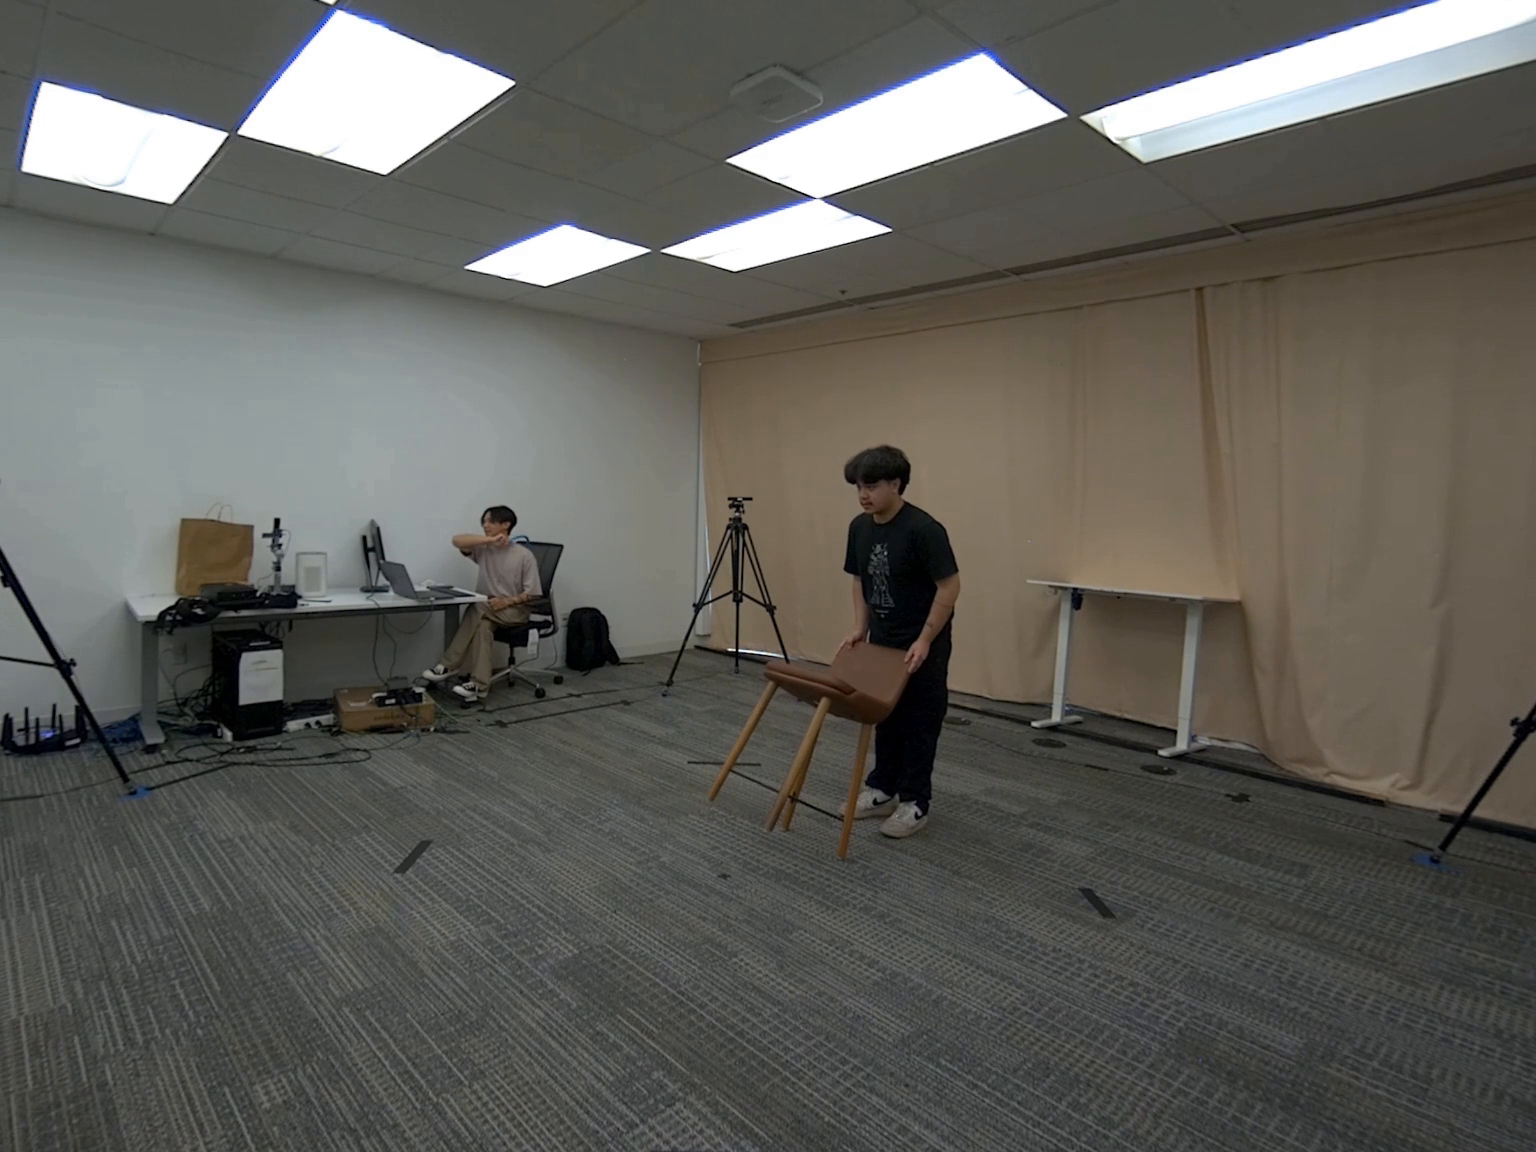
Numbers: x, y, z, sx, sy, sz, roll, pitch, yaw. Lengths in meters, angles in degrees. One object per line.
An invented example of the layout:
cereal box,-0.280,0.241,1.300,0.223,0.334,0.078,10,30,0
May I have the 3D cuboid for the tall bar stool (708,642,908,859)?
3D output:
tall bar stool,0.190,0.605,3.401,0.454,0.894,0.467,33,-17,-33
